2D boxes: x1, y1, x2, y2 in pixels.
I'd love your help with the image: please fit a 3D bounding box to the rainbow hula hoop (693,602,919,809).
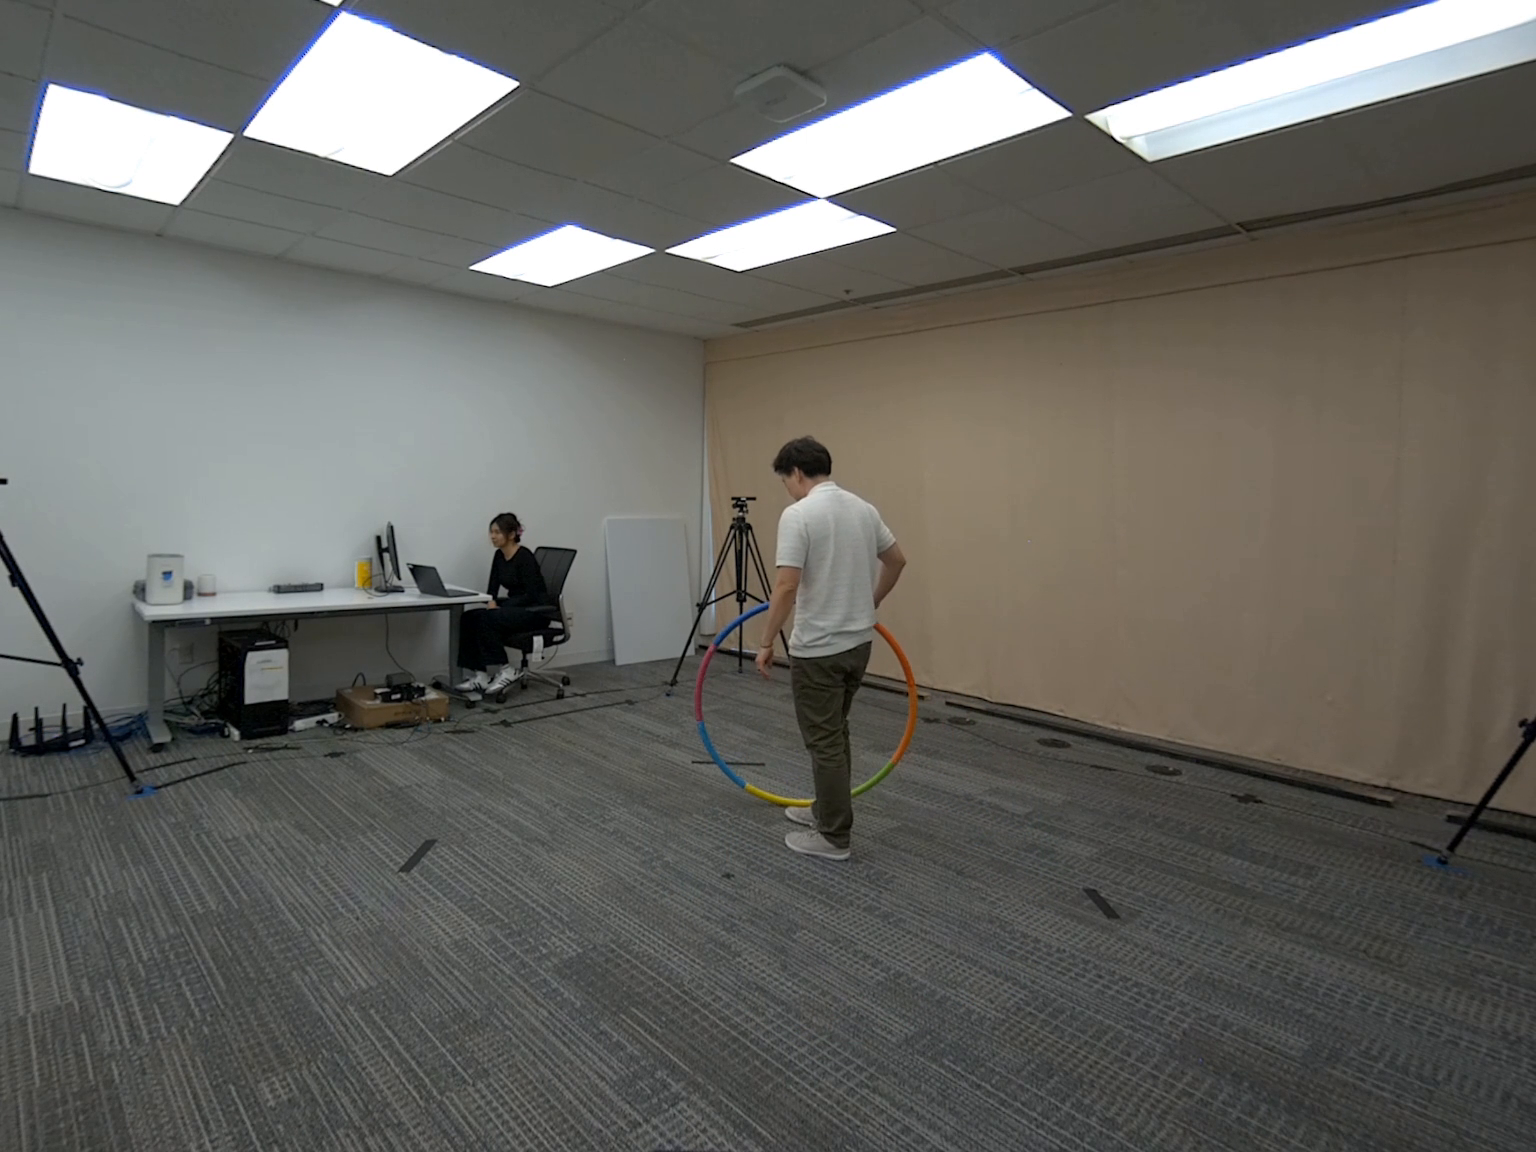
[{"bbox_3d":[0.159,0.574,3.766,0.983,0.972,0.035,2,9,5],"label":"rainbow hula hoop"}]
